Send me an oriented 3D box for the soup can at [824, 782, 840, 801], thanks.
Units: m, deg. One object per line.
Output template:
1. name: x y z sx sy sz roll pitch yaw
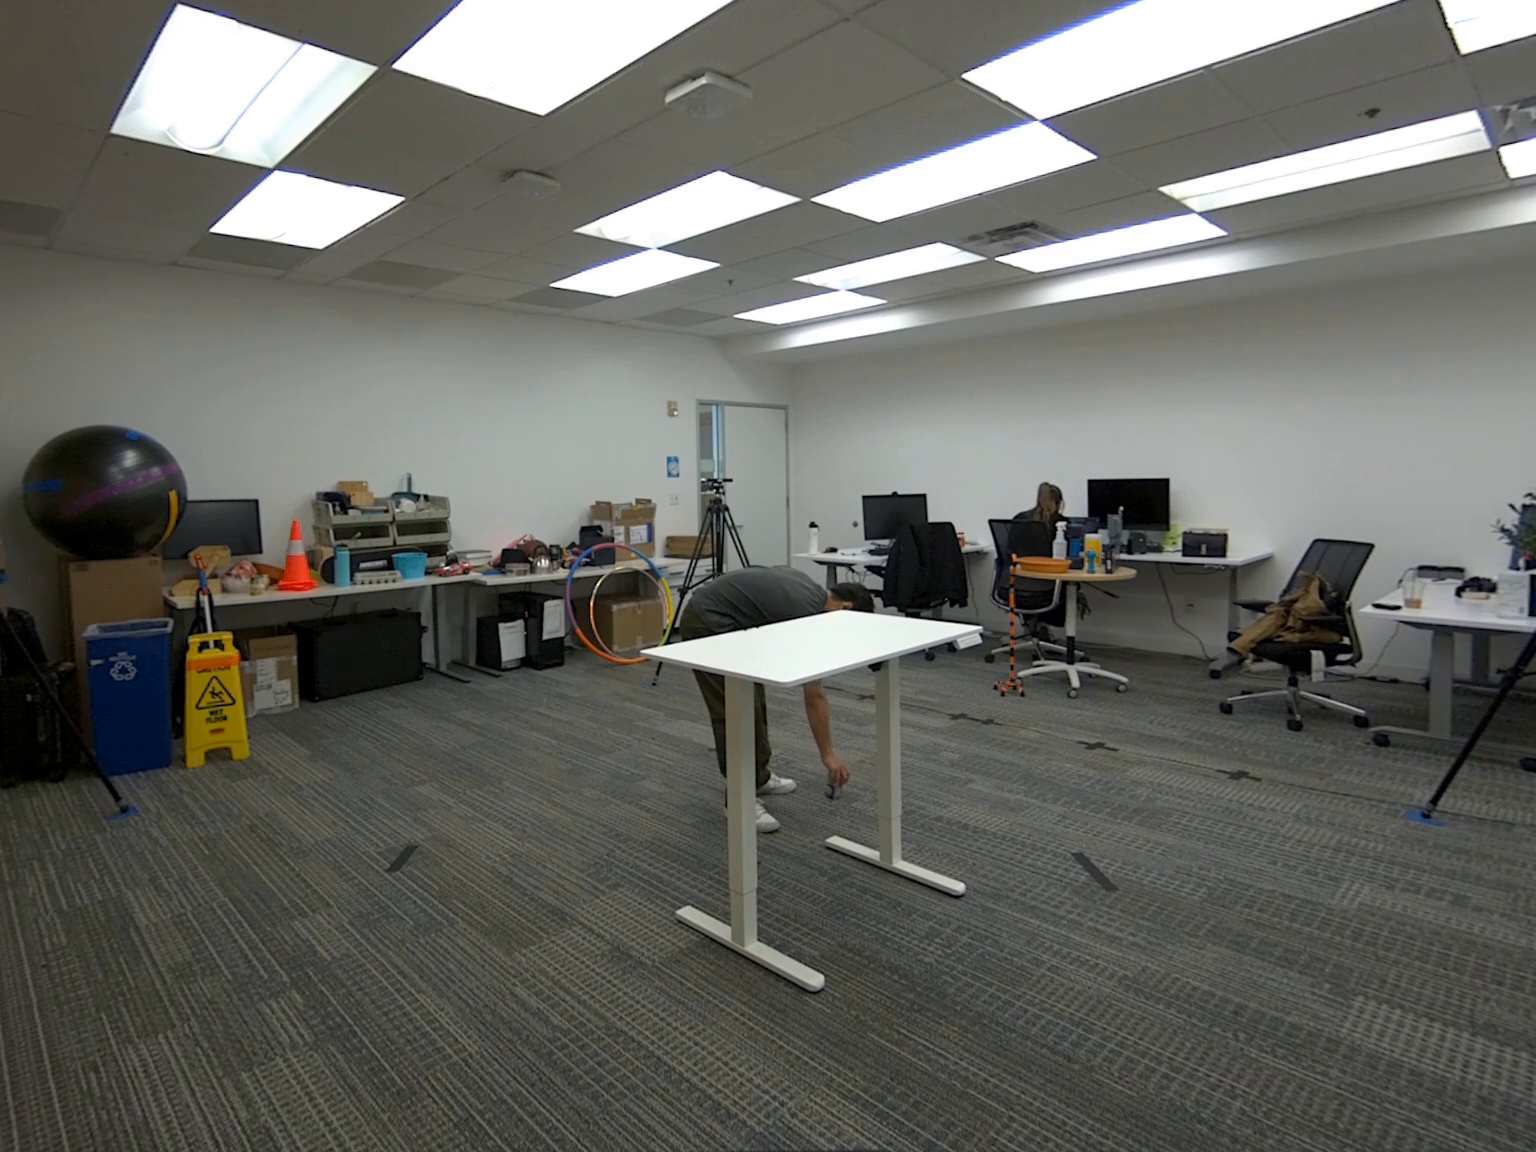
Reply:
1. soup can: 0.274 0.854 3.524 0.067 0.120 0.068 1 10 -2
